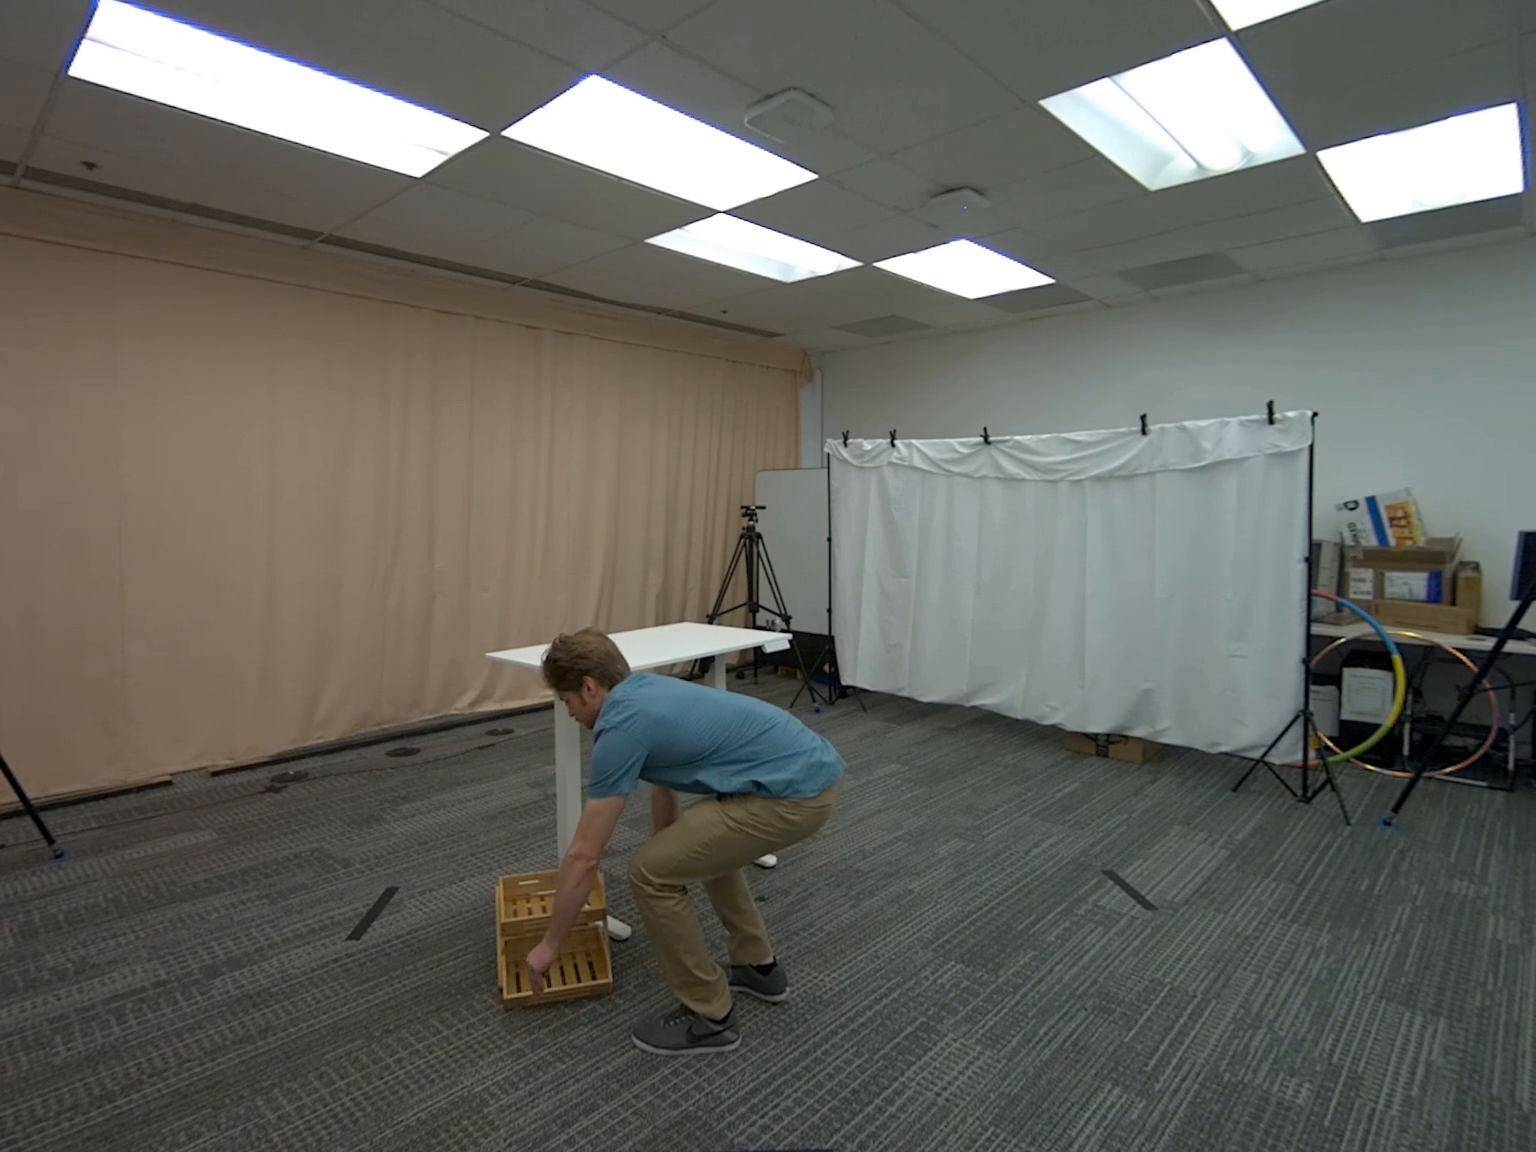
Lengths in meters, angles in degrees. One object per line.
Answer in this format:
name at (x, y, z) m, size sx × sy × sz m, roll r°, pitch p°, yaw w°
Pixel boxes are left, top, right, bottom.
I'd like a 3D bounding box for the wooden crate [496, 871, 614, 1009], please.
wooden crate at (-0.632, 1.057, 2.478) m, size 0.319 × 0.273 × 0.308 m, roll -2°, pitch 4°, yaw -18°
